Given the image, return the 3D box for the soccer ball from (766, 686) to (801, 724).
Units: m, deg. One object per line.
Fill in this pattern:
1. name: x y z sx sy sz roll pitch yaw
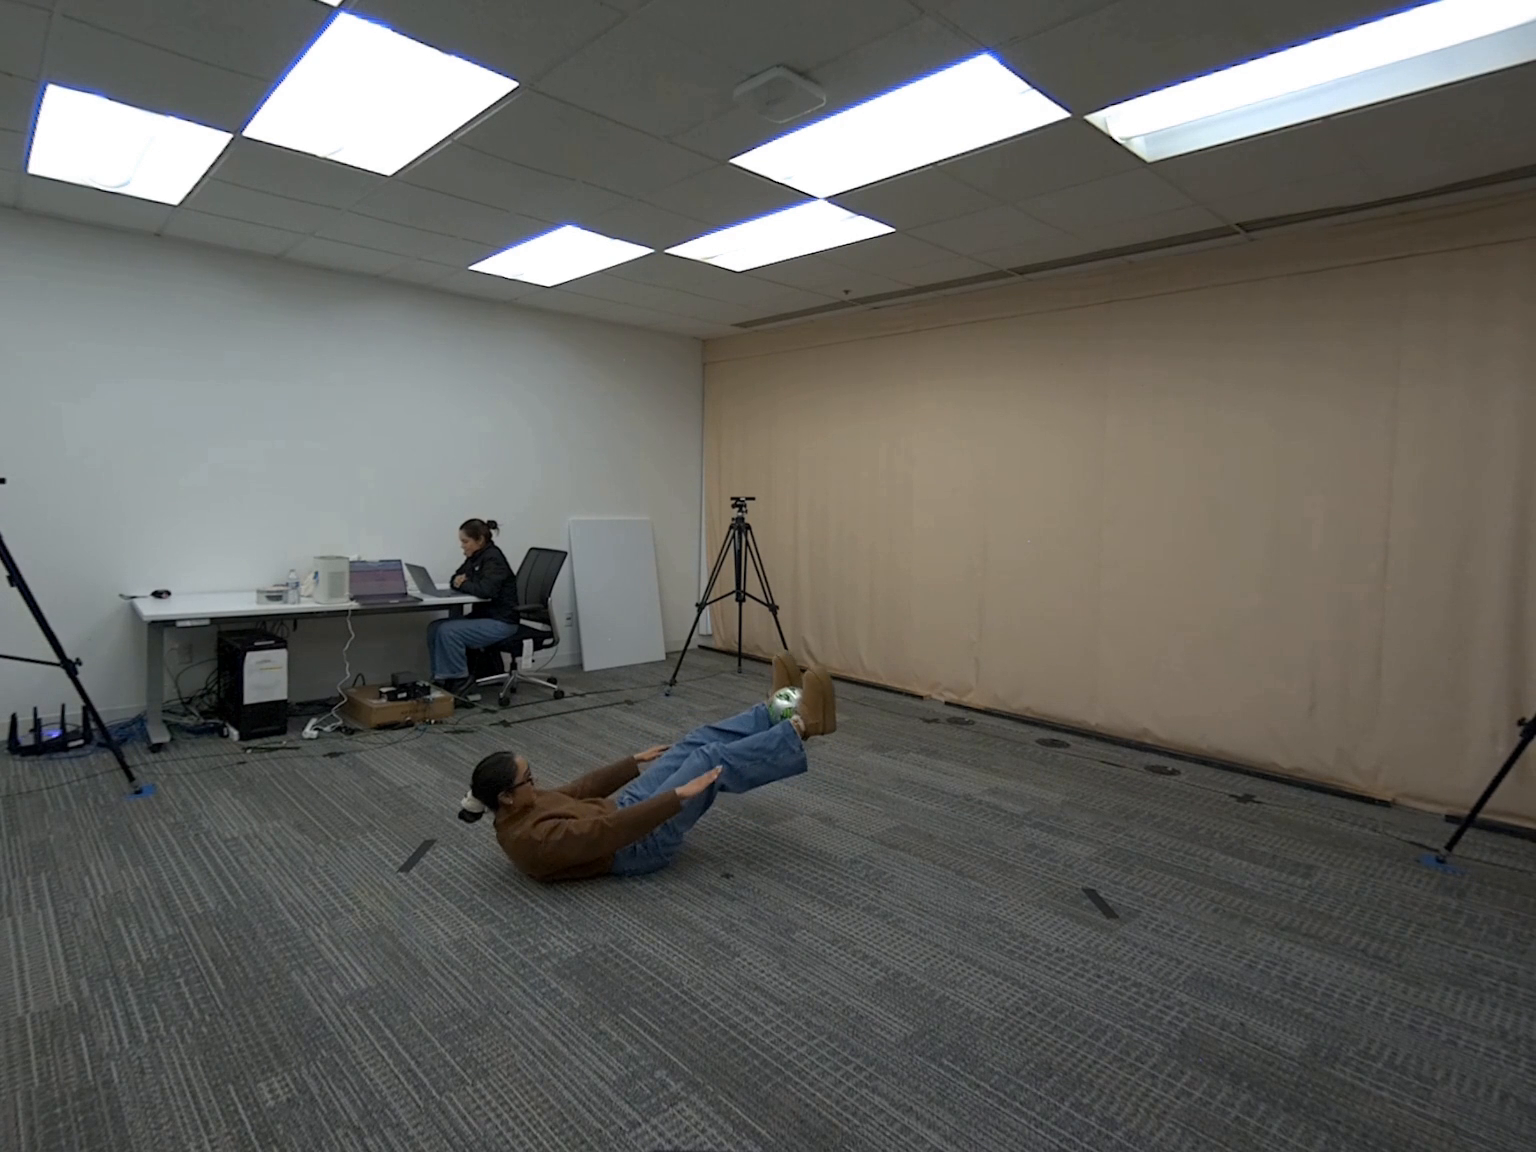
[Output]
1. soccer ball: 0.077 0.553 3.453 0.187 0.187 0.188 1 4 -1
